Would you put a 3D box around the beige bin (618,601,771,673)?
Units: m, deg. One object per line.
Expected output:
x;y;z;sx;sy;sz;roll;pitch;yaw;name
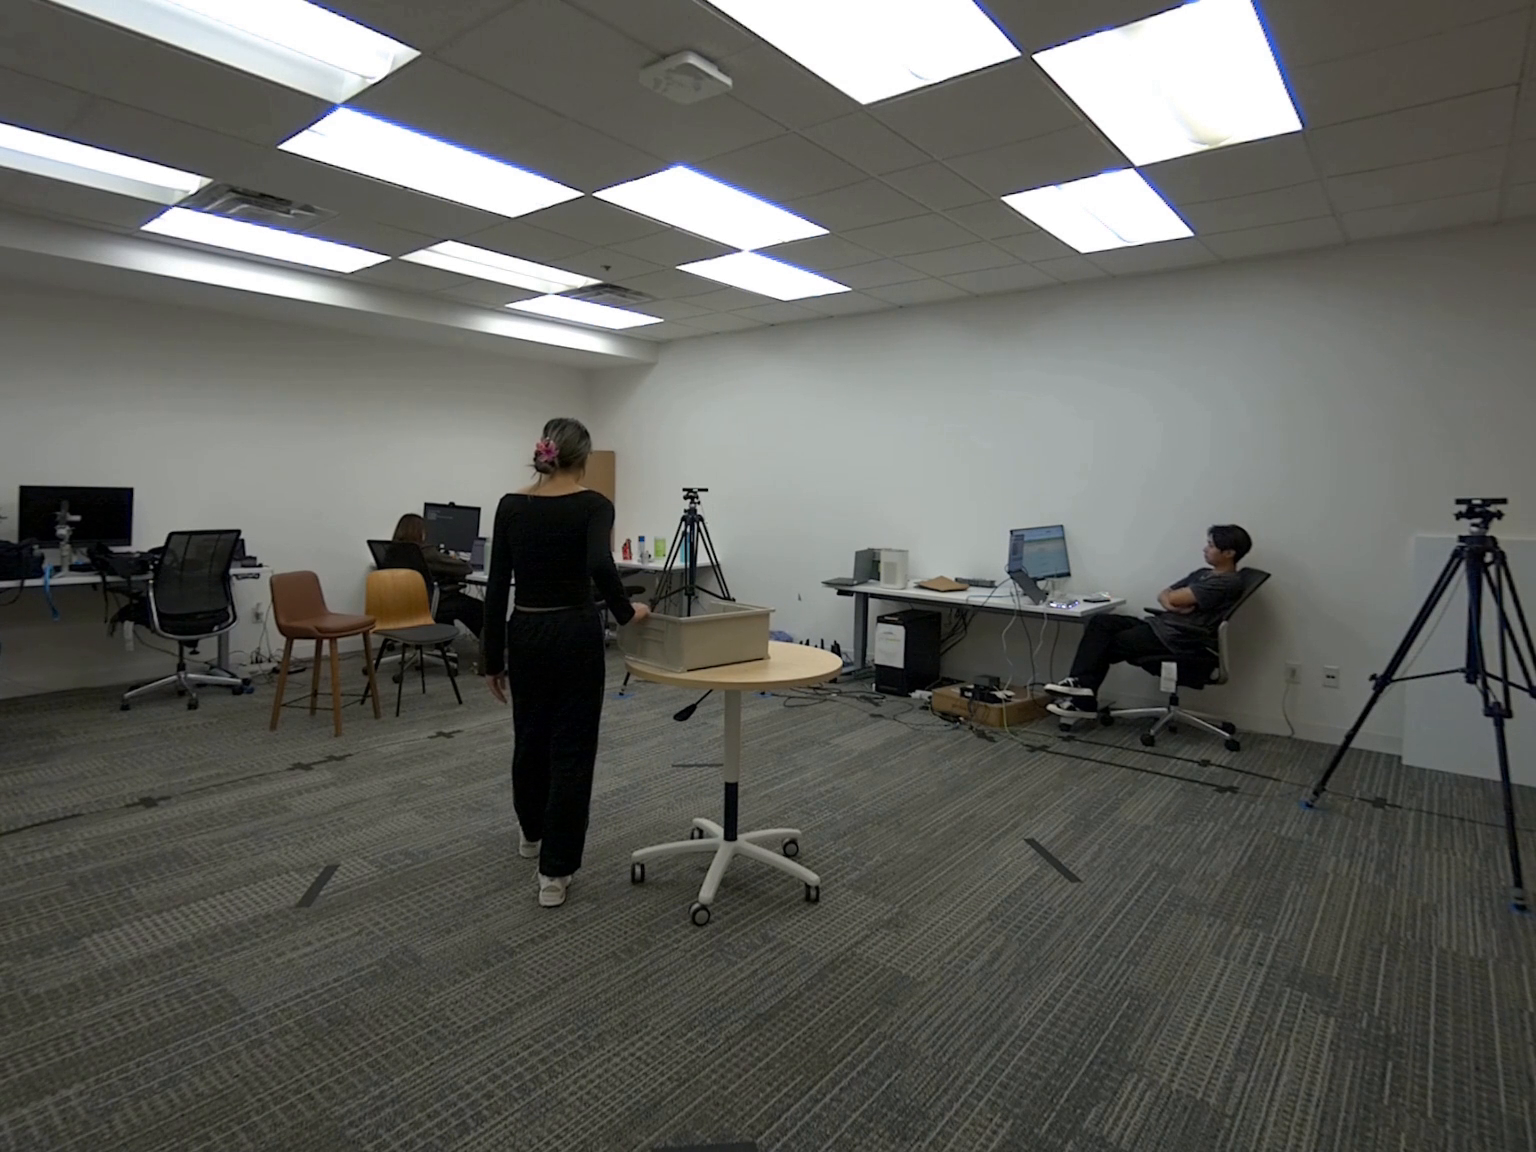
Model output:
-0.270;0.200;2.998;0.409;0.188;0.391;-3;8;-42;beige bin
